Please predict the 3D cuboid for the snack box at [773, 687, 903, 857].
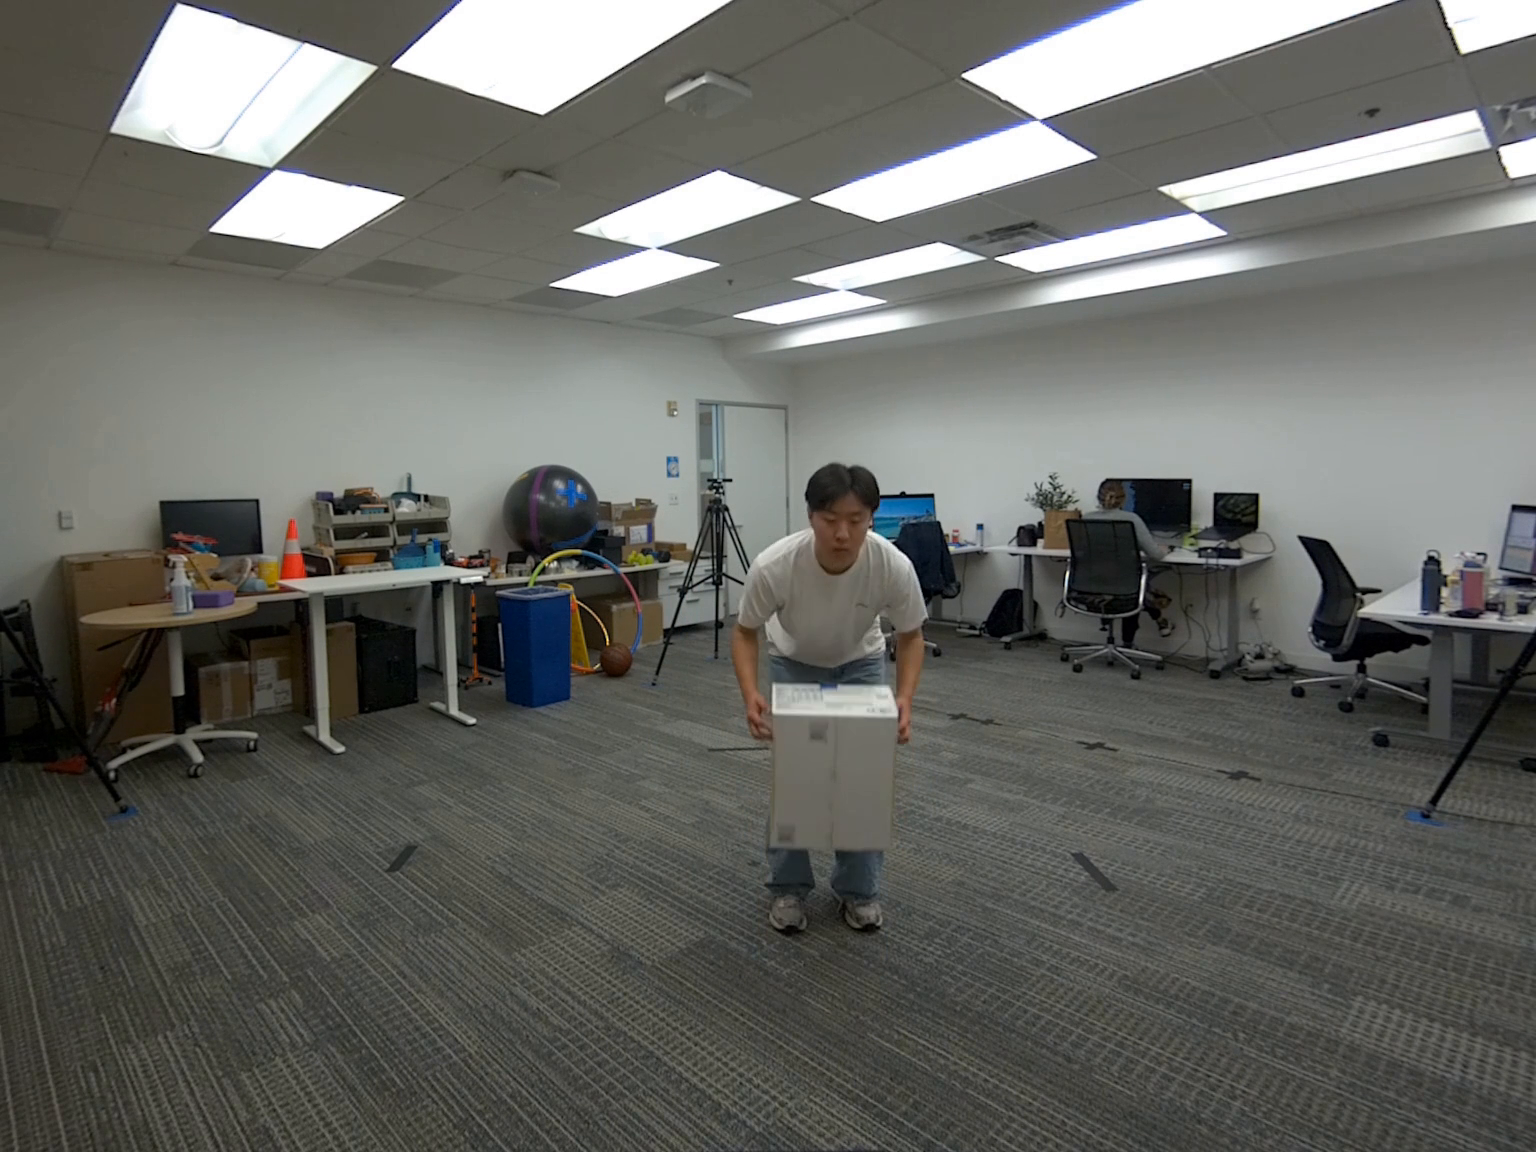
[{"bbox_3d":[0.187,0.544,2.410,0.341,0.400,0.207,0,13,3],"label":"snack box"}]
